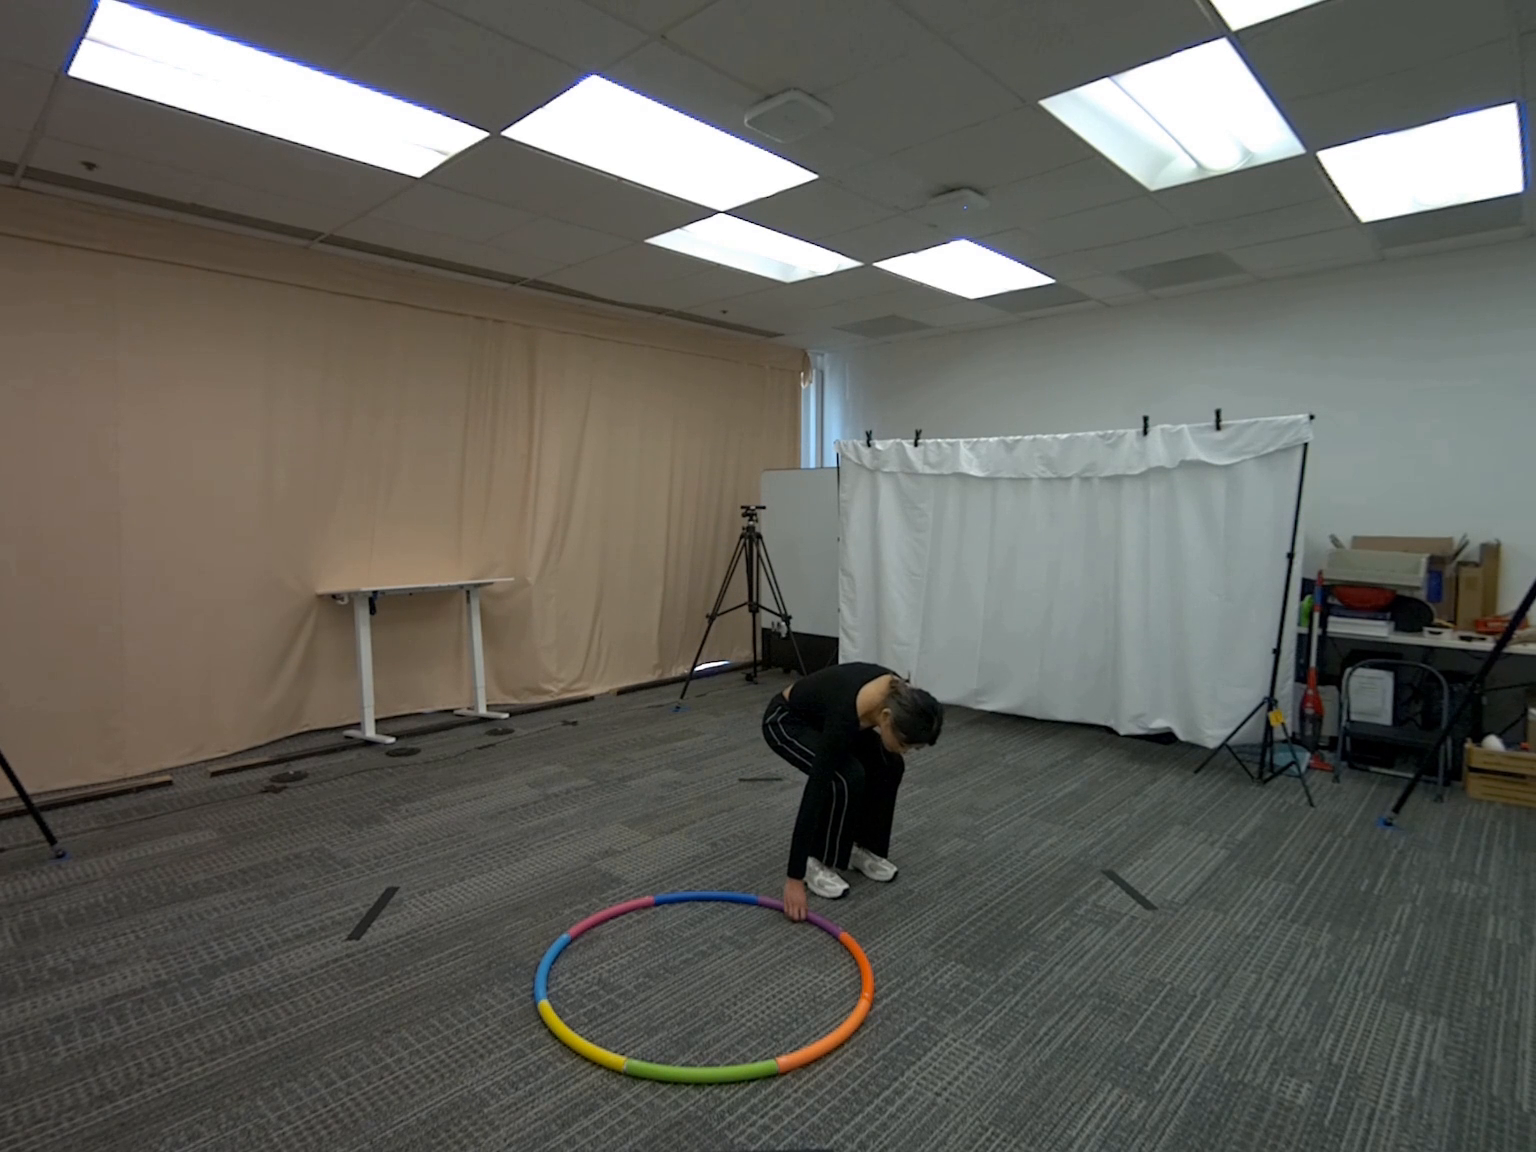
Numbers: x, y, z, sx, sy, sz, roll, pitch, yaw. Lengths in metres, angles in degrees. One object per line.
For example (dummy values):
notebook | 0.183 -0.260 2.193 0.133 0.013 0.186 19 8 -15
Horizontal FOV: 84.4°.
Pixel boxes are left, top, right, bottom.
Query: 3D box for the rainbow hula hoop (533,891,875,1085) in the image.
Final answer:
rainbow hula hoop | -0.188 1.156 2.505 0.978 0.035 0.982 0 4 -2
